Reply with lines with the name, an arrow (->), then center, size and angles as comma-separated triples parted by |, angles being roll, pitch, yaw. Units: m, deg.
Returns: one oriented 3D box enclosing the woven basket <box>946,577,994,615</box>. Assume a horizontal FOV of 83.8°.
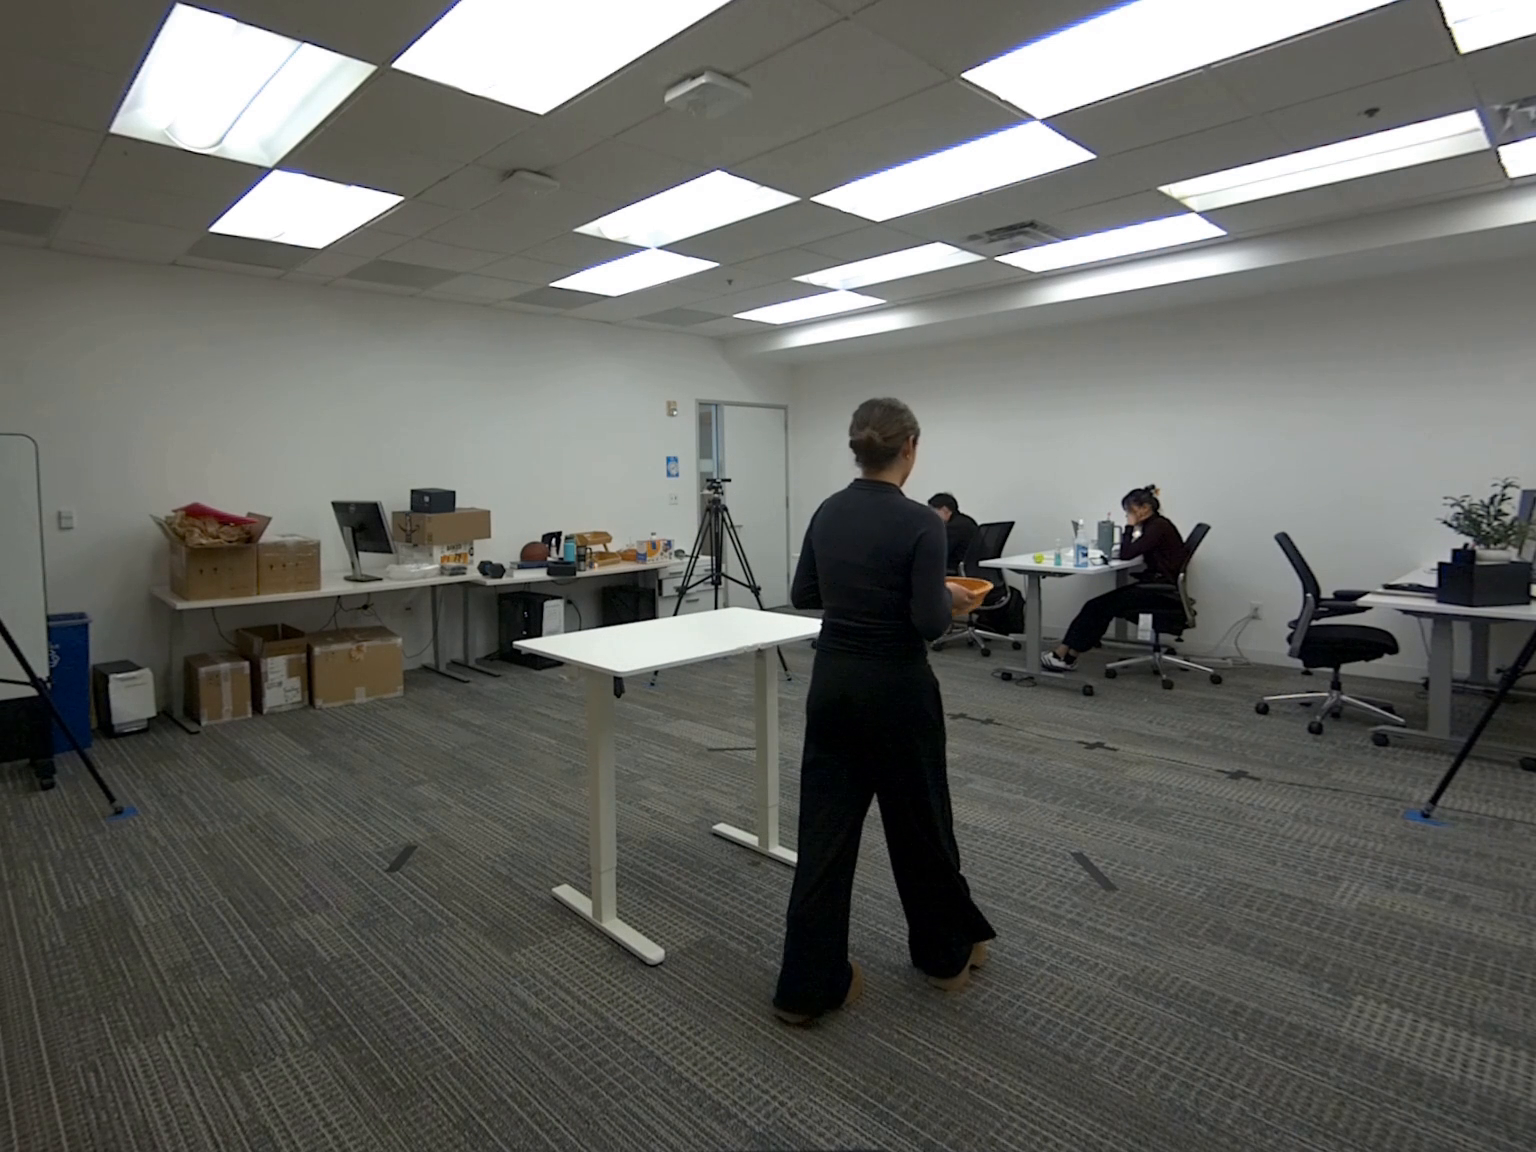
woven basket -> 0.496, 0.061, 2.471 | 0.343, 0.073, 0.258 | -3, 5, -24
